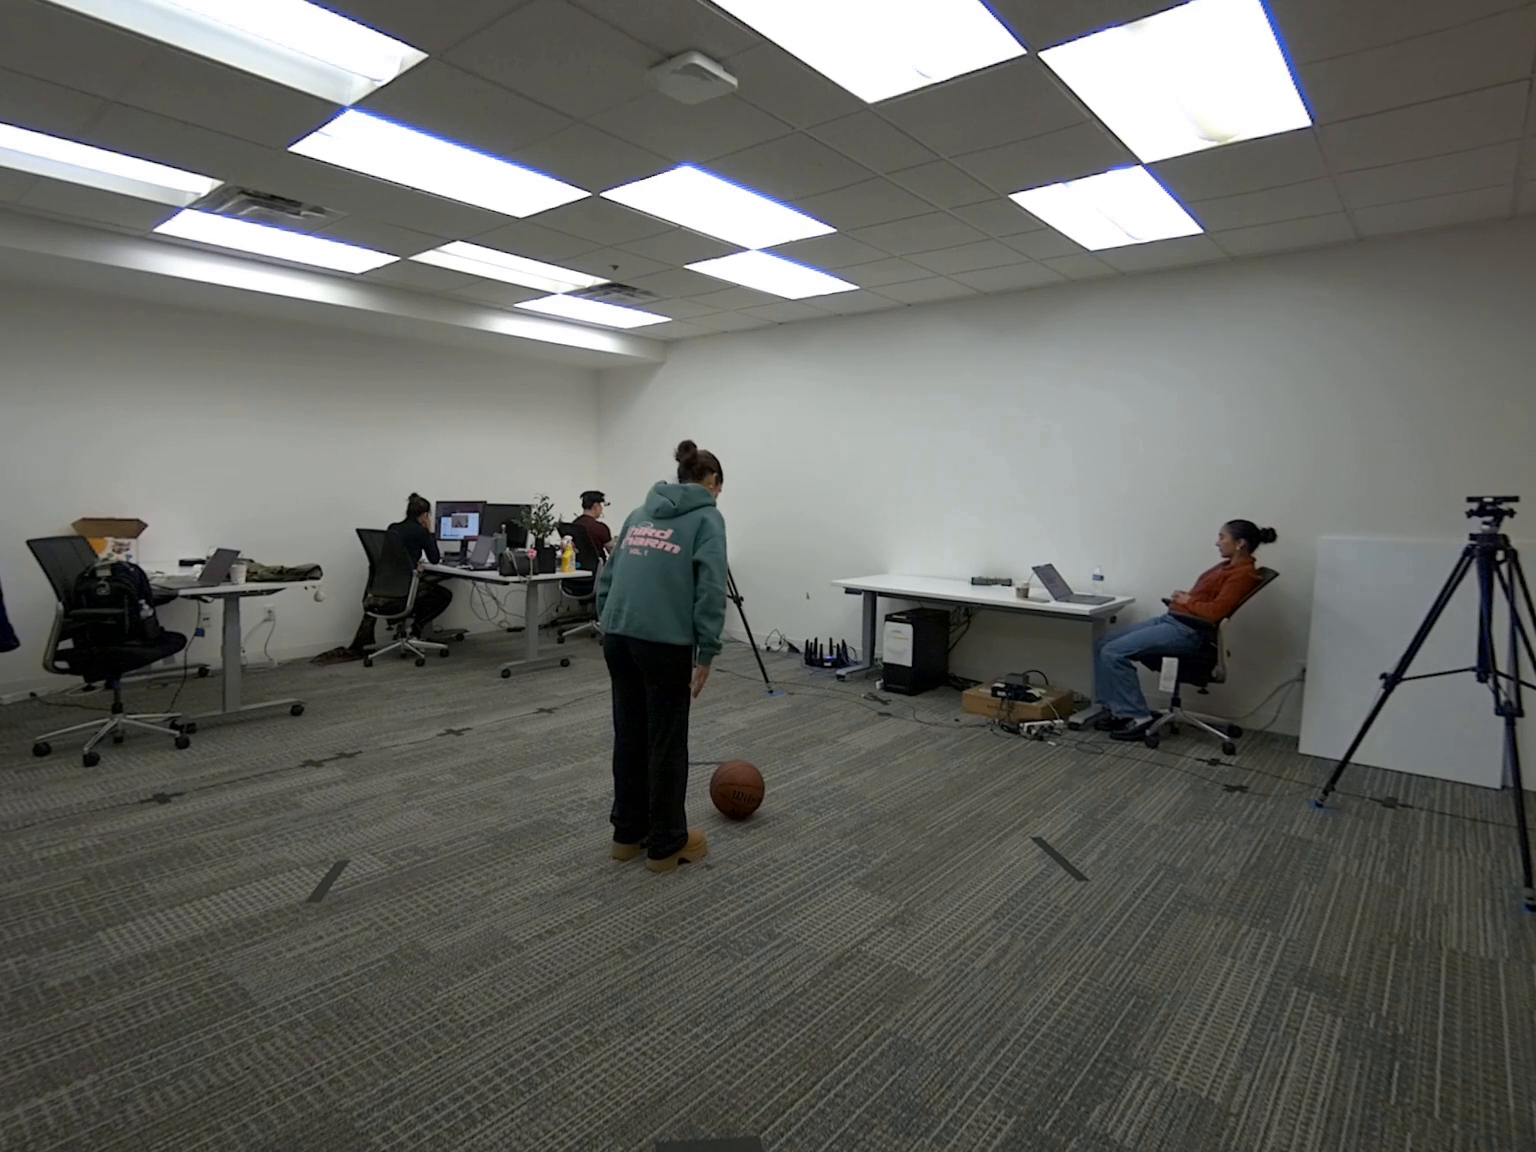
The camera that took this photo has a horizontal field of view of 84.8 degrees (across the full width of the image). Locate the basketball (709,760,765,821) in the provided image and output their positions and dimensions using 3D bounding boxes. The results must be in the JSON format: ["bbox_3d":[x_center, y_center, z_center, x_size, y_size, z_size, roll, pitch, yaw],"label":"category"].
[{"bbox_3d":[-0.142,0.896,3.614,0.235,0.235,0.237,1,4,-2],"label":"basketball"}]
